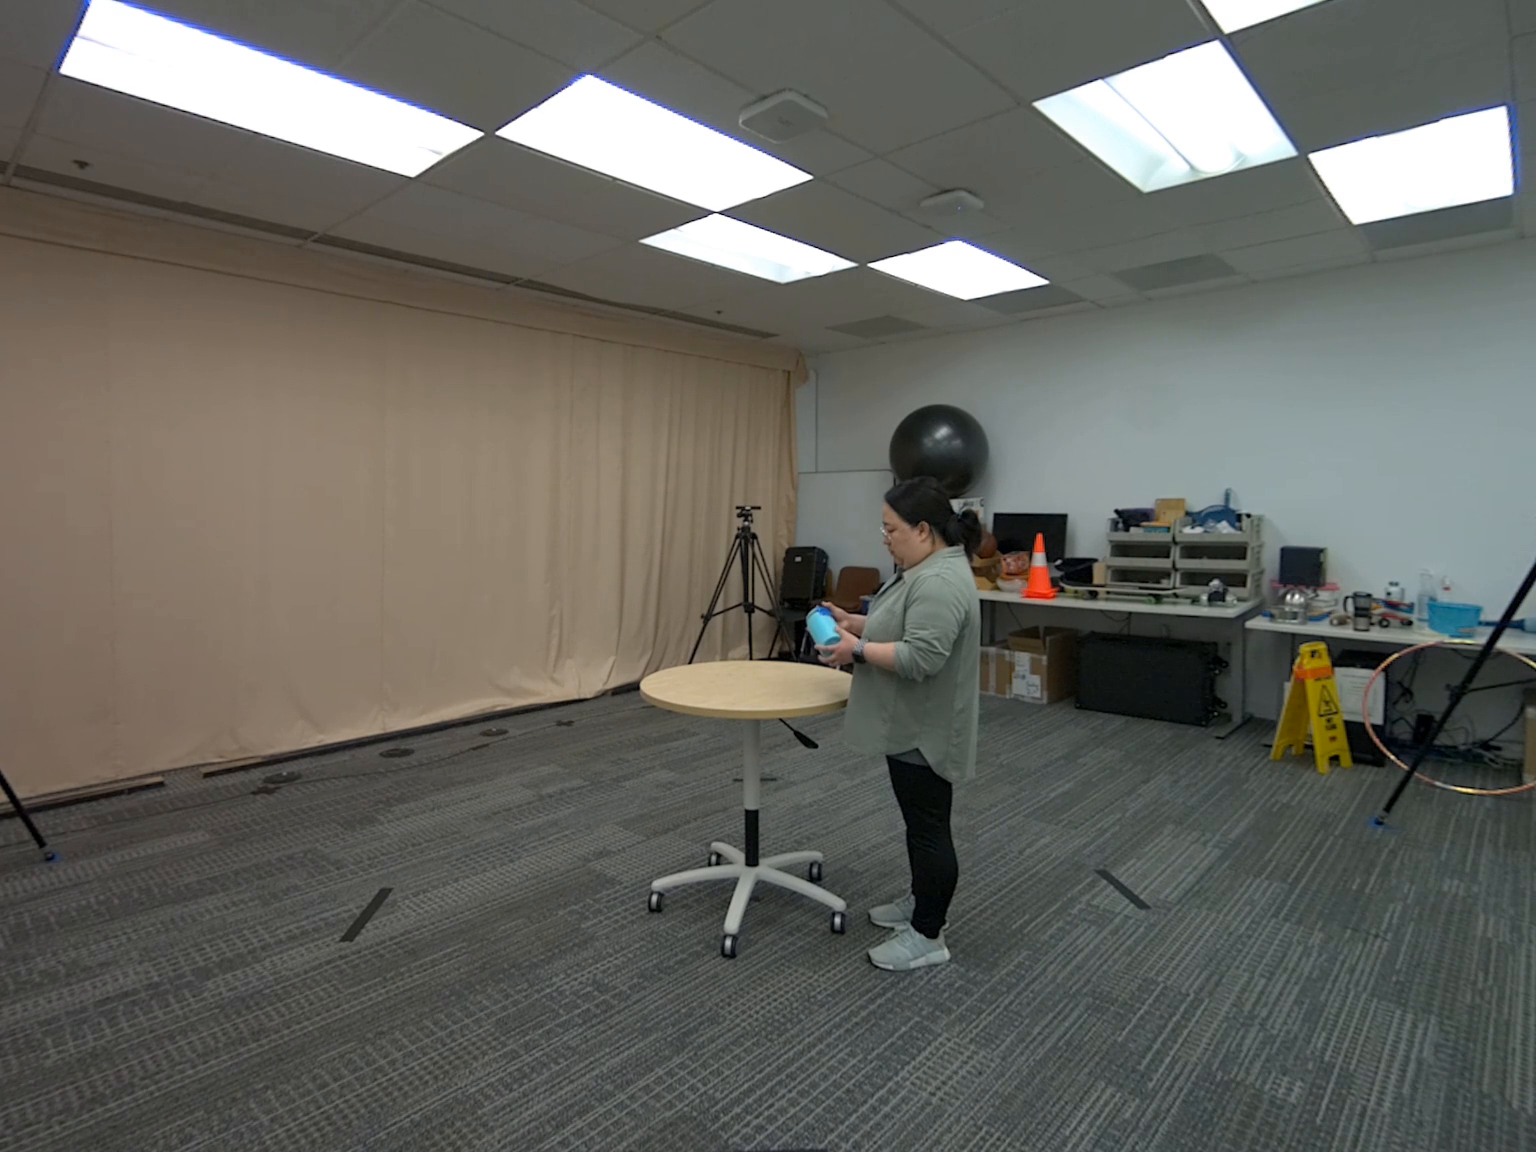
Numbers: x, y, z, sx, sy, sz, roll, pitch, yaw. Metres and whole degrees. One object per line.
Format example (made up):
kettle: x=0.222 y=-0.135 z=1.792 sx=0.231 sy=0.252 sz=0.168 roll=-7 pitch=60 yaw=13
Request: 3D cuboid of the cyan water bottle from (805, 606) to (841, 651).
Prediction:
cyan water bottle: x=0.191 y=0.178 z=2.678 sx=0.092 sy=0.091 sz=0.288 roll=-1 pitch=19 yaw=-6
